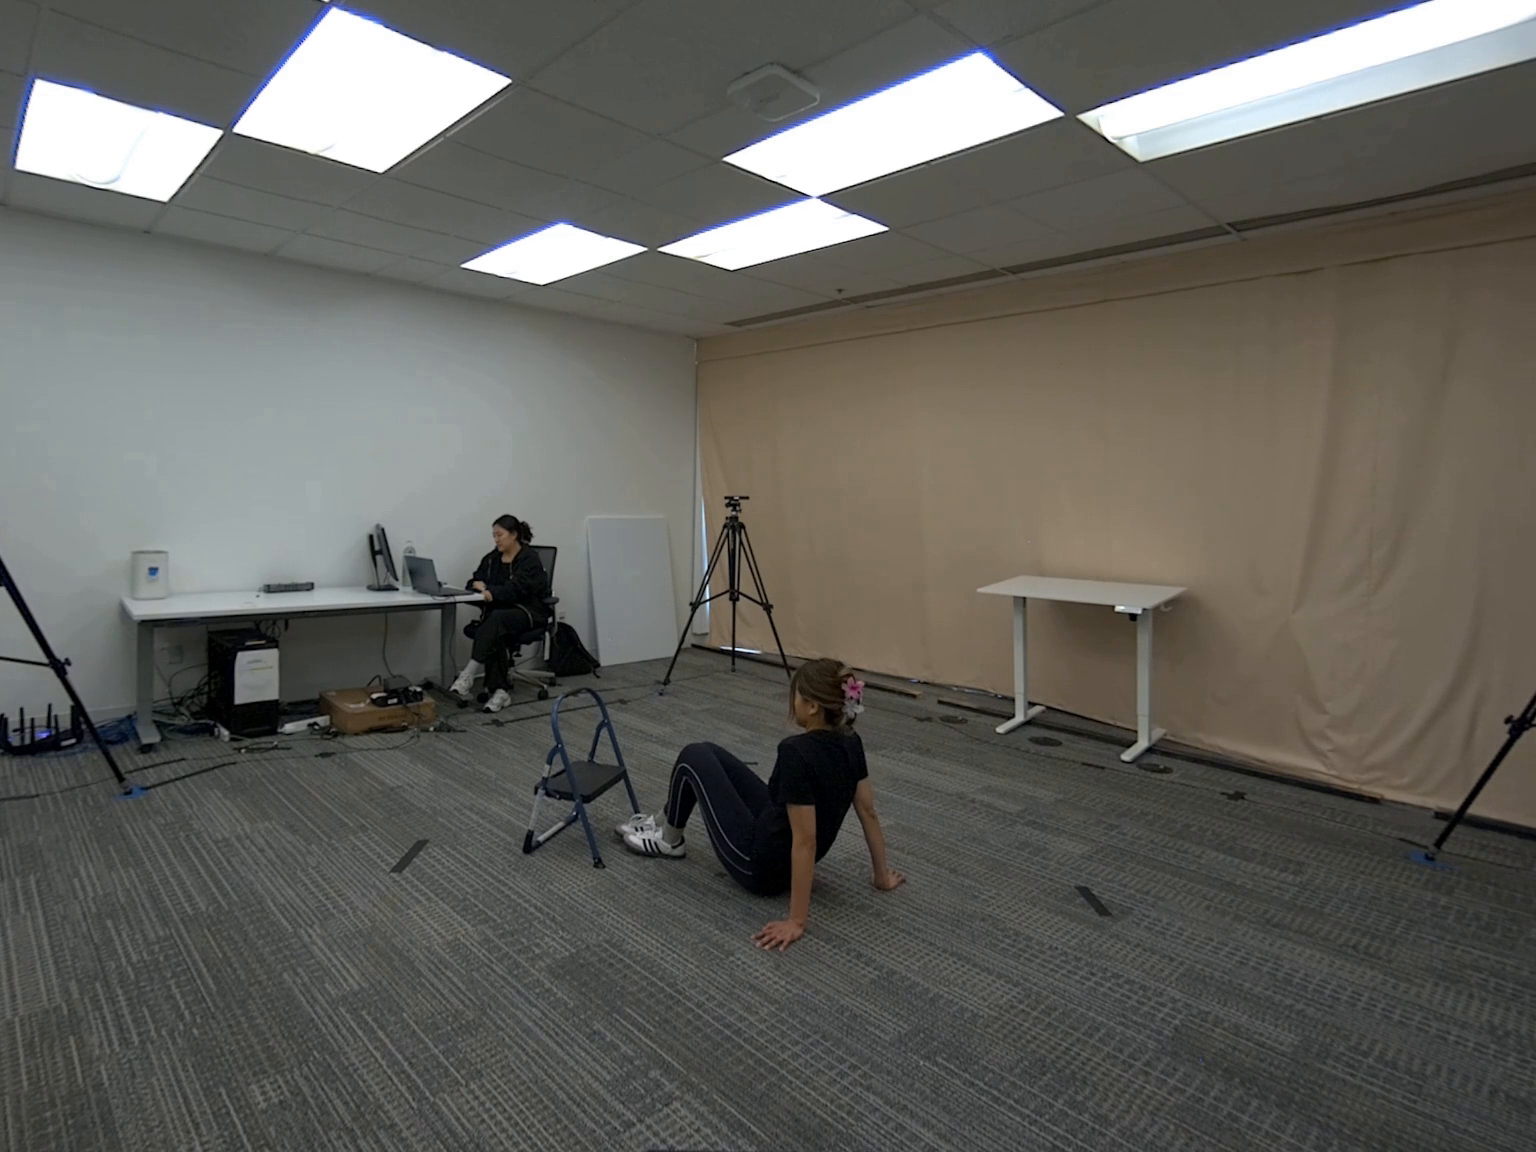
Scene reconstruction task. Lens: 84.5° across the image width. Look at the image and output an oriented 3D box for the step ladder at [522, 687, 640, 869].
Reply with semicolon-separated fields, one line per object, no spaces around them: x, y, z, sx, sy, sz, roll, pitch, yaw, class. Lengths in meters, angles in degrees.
-0.731;0.763;3.374;0.354;0.604;0.426;3;4;15;step ladder
